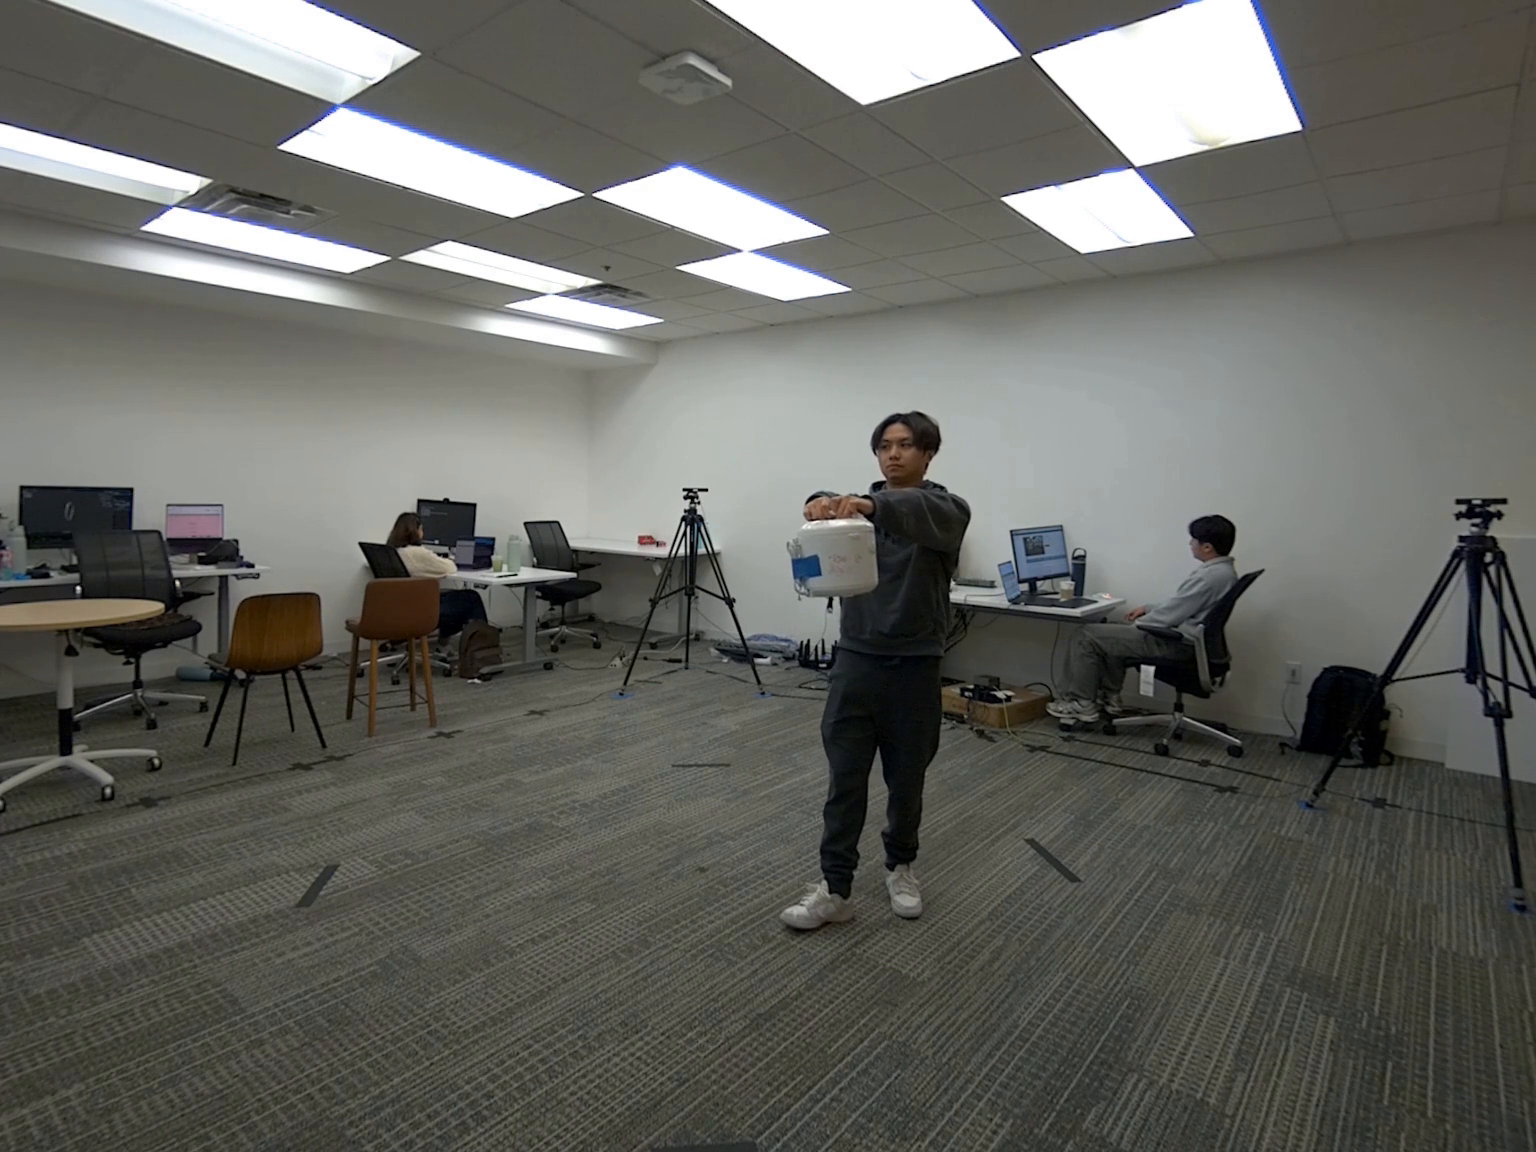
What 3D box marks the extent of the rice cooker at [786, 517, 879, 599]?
[{"bbox_3d":[0.179,-0.067,2.343,0.227,0.232,0.212,-3,3,33],"label":"rice cooker"}]
